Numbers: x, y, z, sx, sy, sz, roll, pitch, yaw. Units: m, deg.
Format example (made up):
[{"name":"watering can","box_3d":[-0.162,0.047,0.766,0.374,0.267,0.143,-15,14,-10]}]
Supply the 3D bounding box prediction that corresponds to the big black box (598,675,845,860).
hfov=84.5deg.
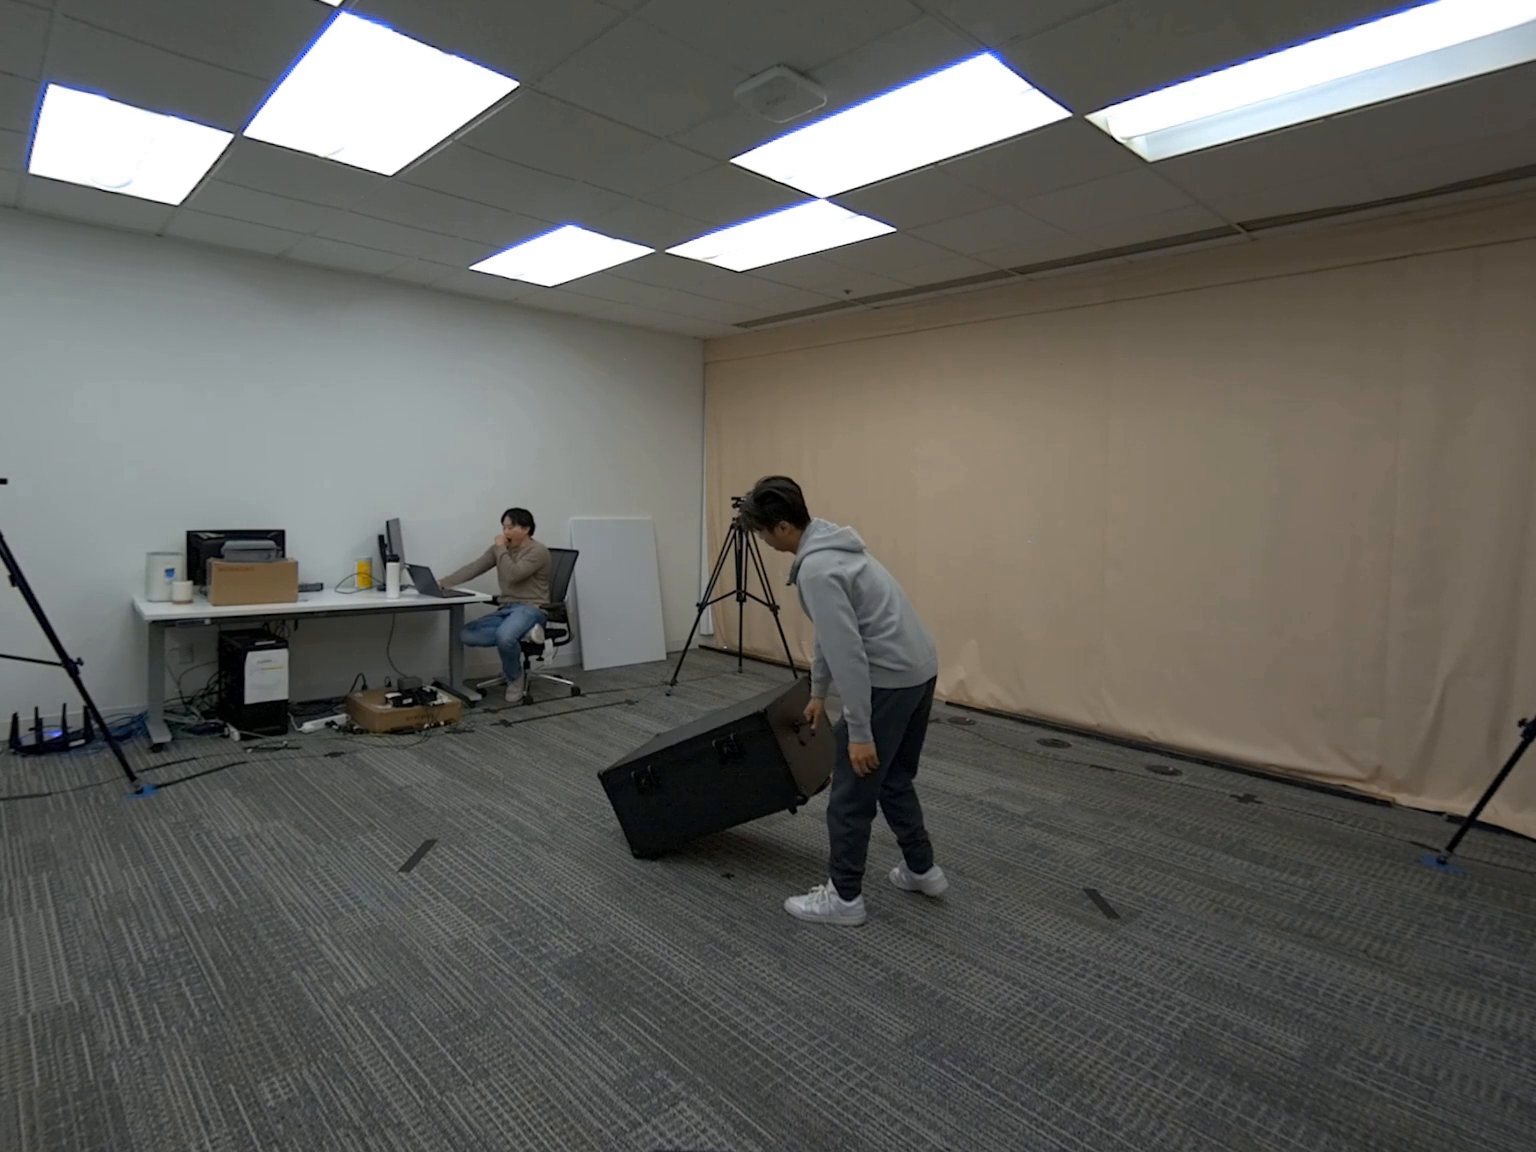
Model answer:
[{"name":"big black box","box_3d":[-0.155,0.743,3.276,0.869,0.398,0.514,-26,-3,25]}]
